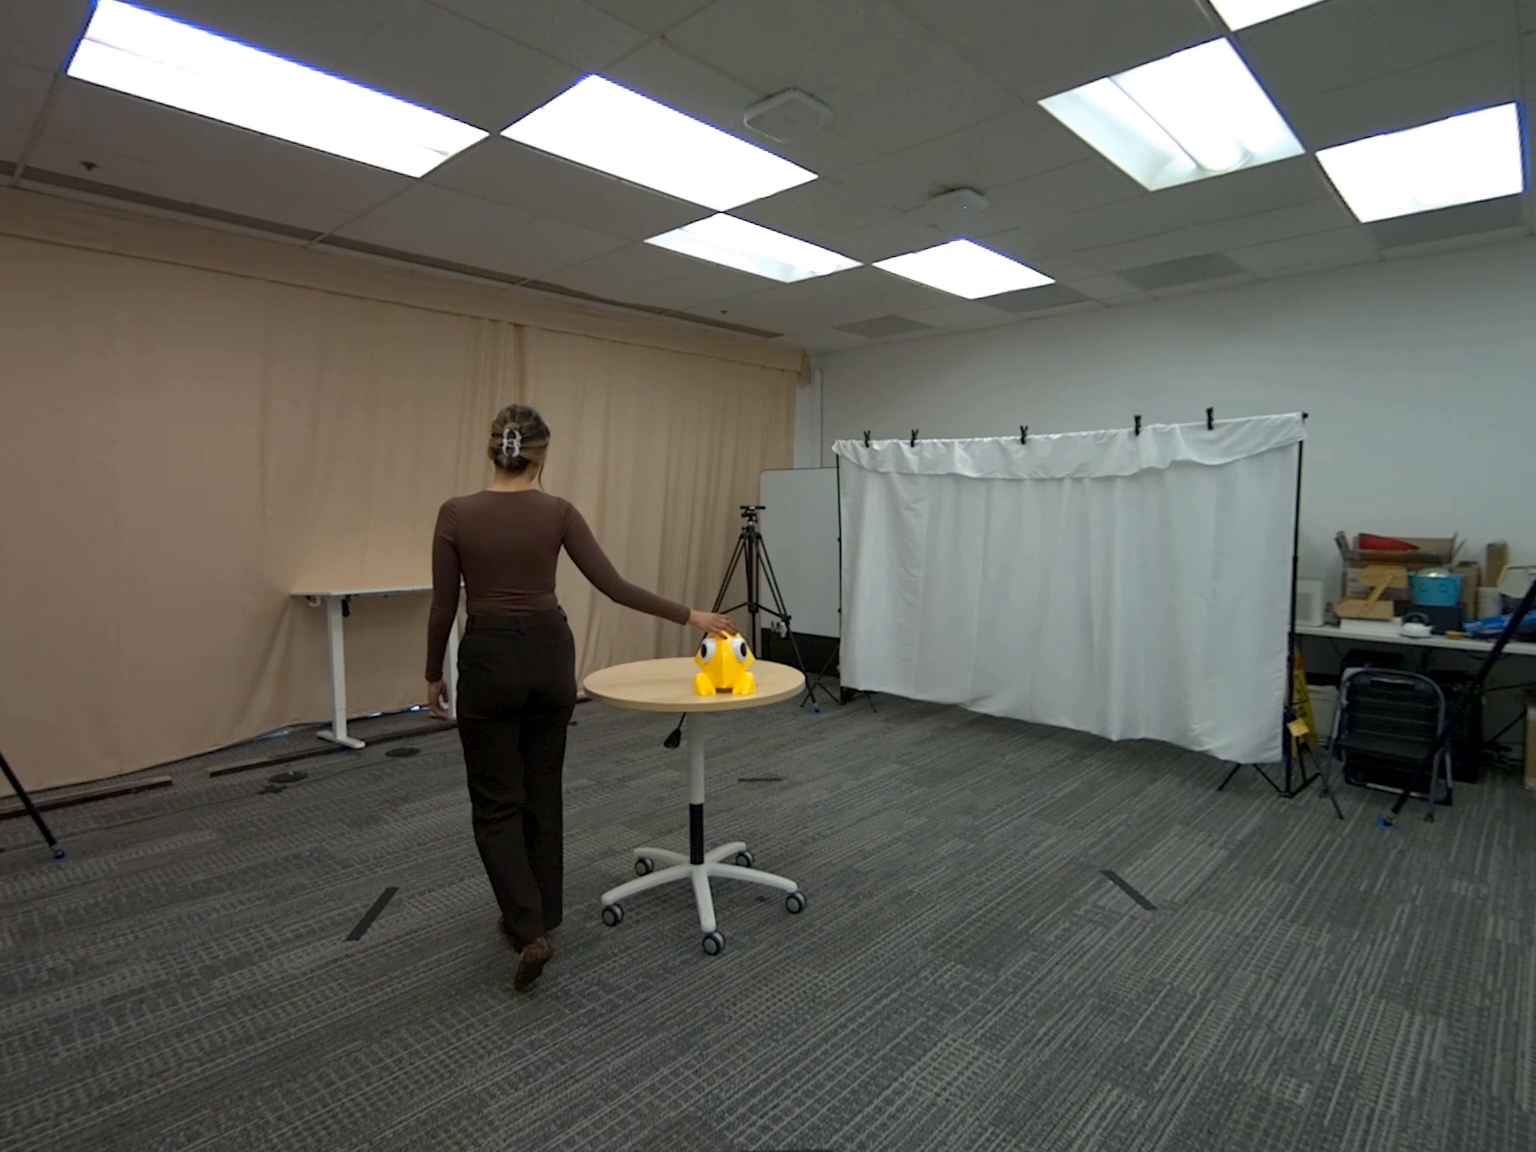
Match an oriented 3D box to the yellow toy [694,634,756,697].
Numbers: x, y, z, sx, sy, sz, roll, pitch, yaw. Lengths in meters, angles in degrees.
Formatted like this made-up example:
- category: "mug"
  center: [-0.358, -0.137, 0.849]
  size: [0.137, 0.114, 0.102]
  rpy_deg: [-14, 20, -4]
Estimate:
- category: "yellow toy"
  center: [-0.139, 0.257, 2.725]
  size: [0.205, 0.230, 0.193]
  rpy_deg: [0, 4, 0]
